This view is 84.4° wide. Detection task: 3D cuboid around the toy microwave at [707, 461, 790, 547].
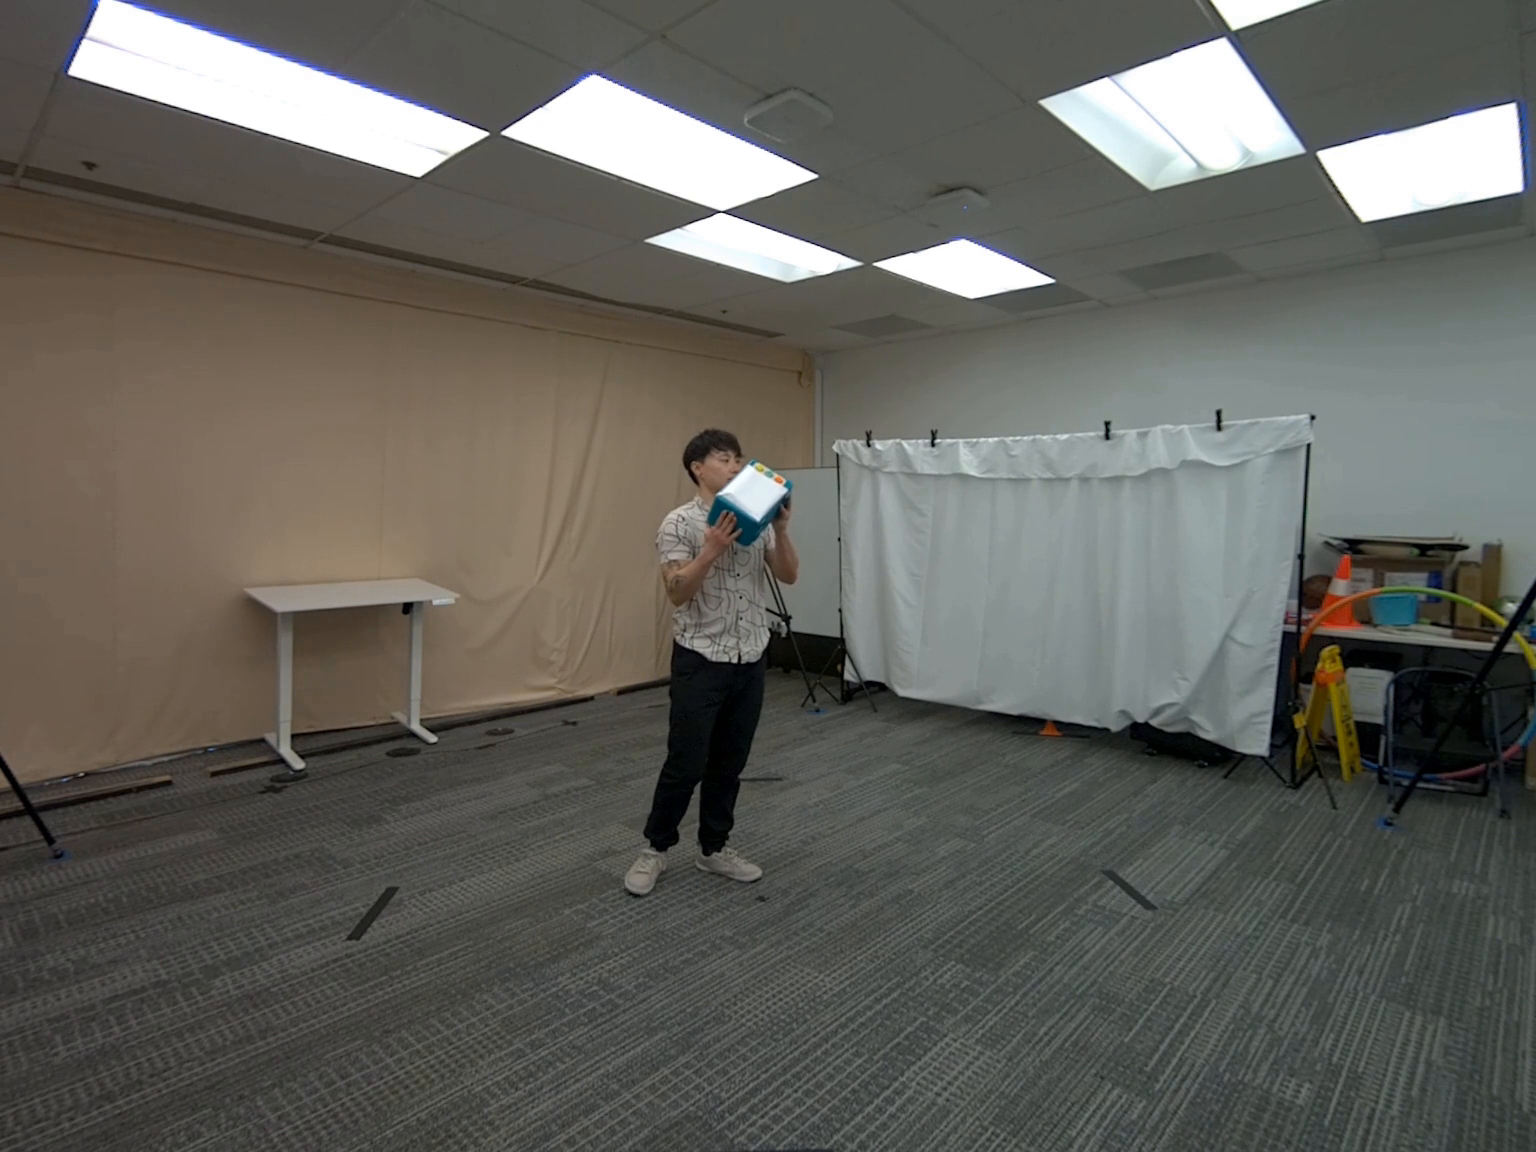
[{"bbox_3d":[-0.054,-0.251,2.878,0.186,0.152,0.284,34,47,9],"label":"toy microwave"}]
